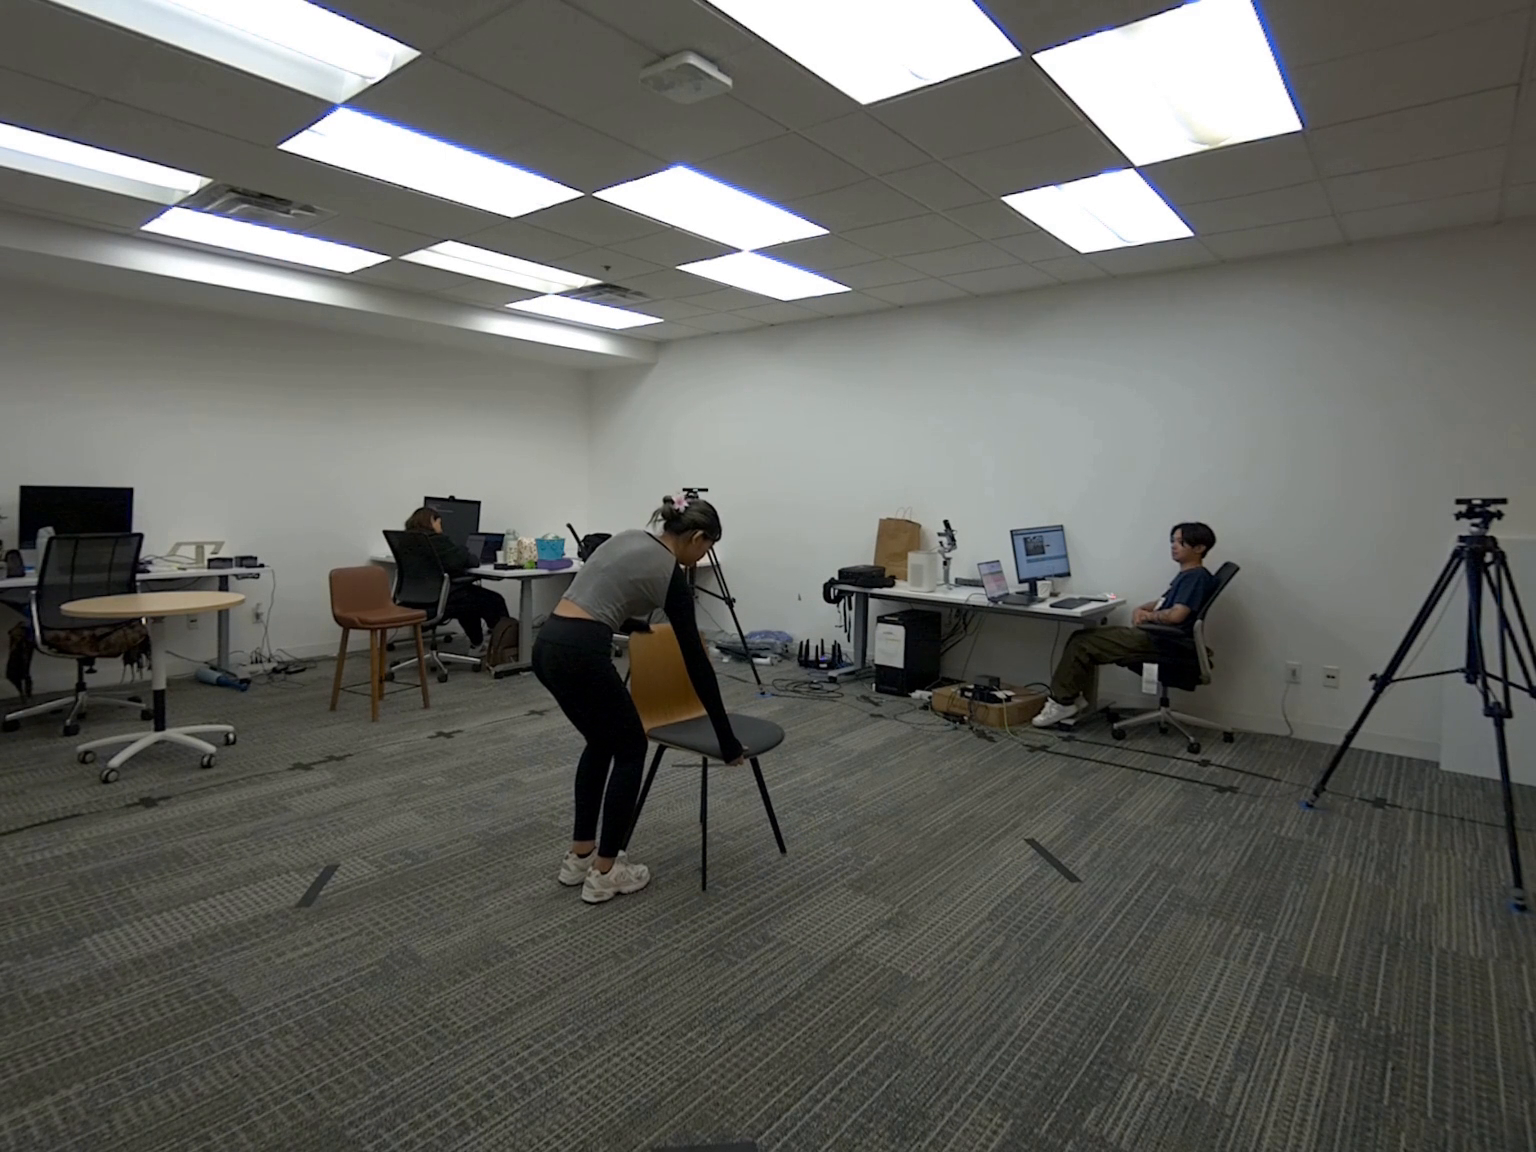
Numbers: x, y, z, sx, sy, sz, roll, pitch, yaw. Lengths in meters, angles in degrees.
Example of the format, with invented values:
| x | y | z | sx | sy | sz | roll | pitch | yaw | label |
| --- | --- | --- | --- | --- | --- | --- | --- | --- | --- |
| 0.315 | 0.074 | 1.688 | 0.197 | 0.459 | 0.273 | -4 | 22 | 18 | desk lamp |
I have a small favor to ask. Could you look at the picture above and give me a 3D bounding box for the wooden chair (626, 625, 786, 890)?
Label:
| x | y | z | sx | sy | sz | roll | pitch | yaw | label |
| --- | --- | --- | --- | --- | --- | --- | --- | --- | --- |
| -0.241 | 0.626 | 3.212 | 0.539 | 0.878 | 0.464 | -3 | 0 | 41 | wooden chair |
